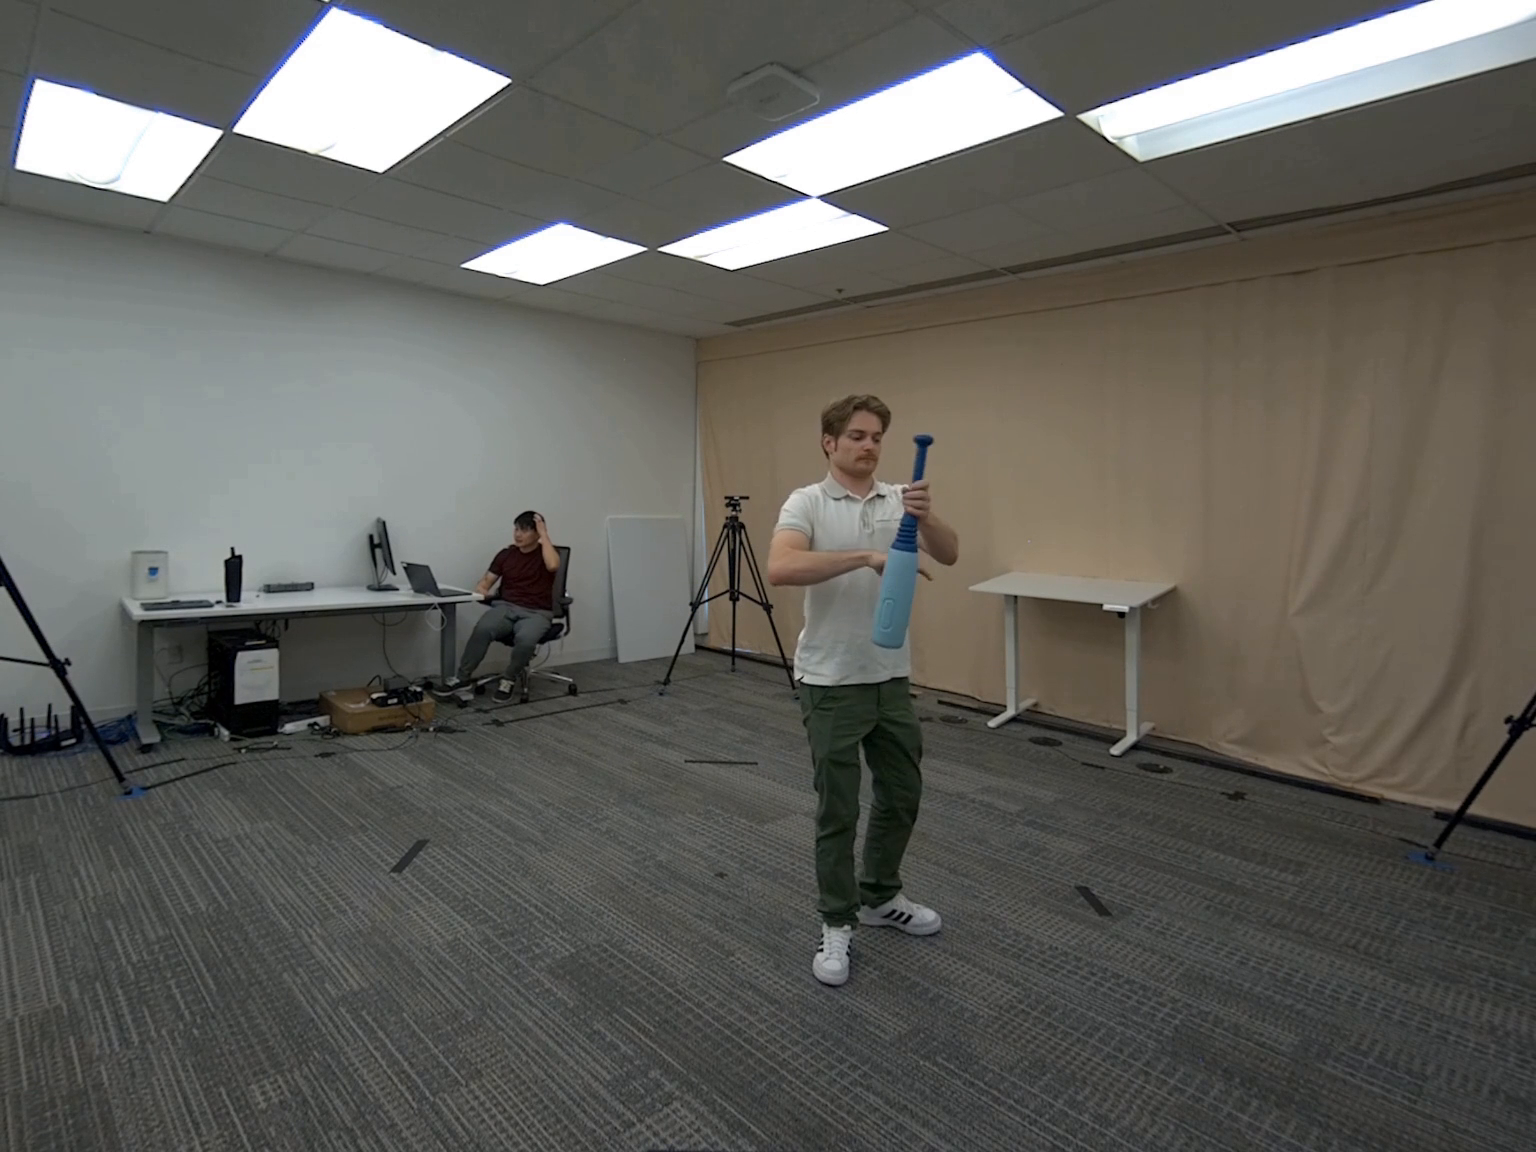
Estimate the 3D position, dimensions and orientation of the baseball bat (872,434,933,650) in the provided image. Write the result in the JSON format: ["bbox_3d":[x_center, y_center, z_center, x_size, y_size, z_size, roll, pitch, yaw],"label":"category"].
[{"bbox_3d":[0.341,-0.085,2.112,0.089,0.541,0.089,8,7,-2],"label":"baseball bat"}]
